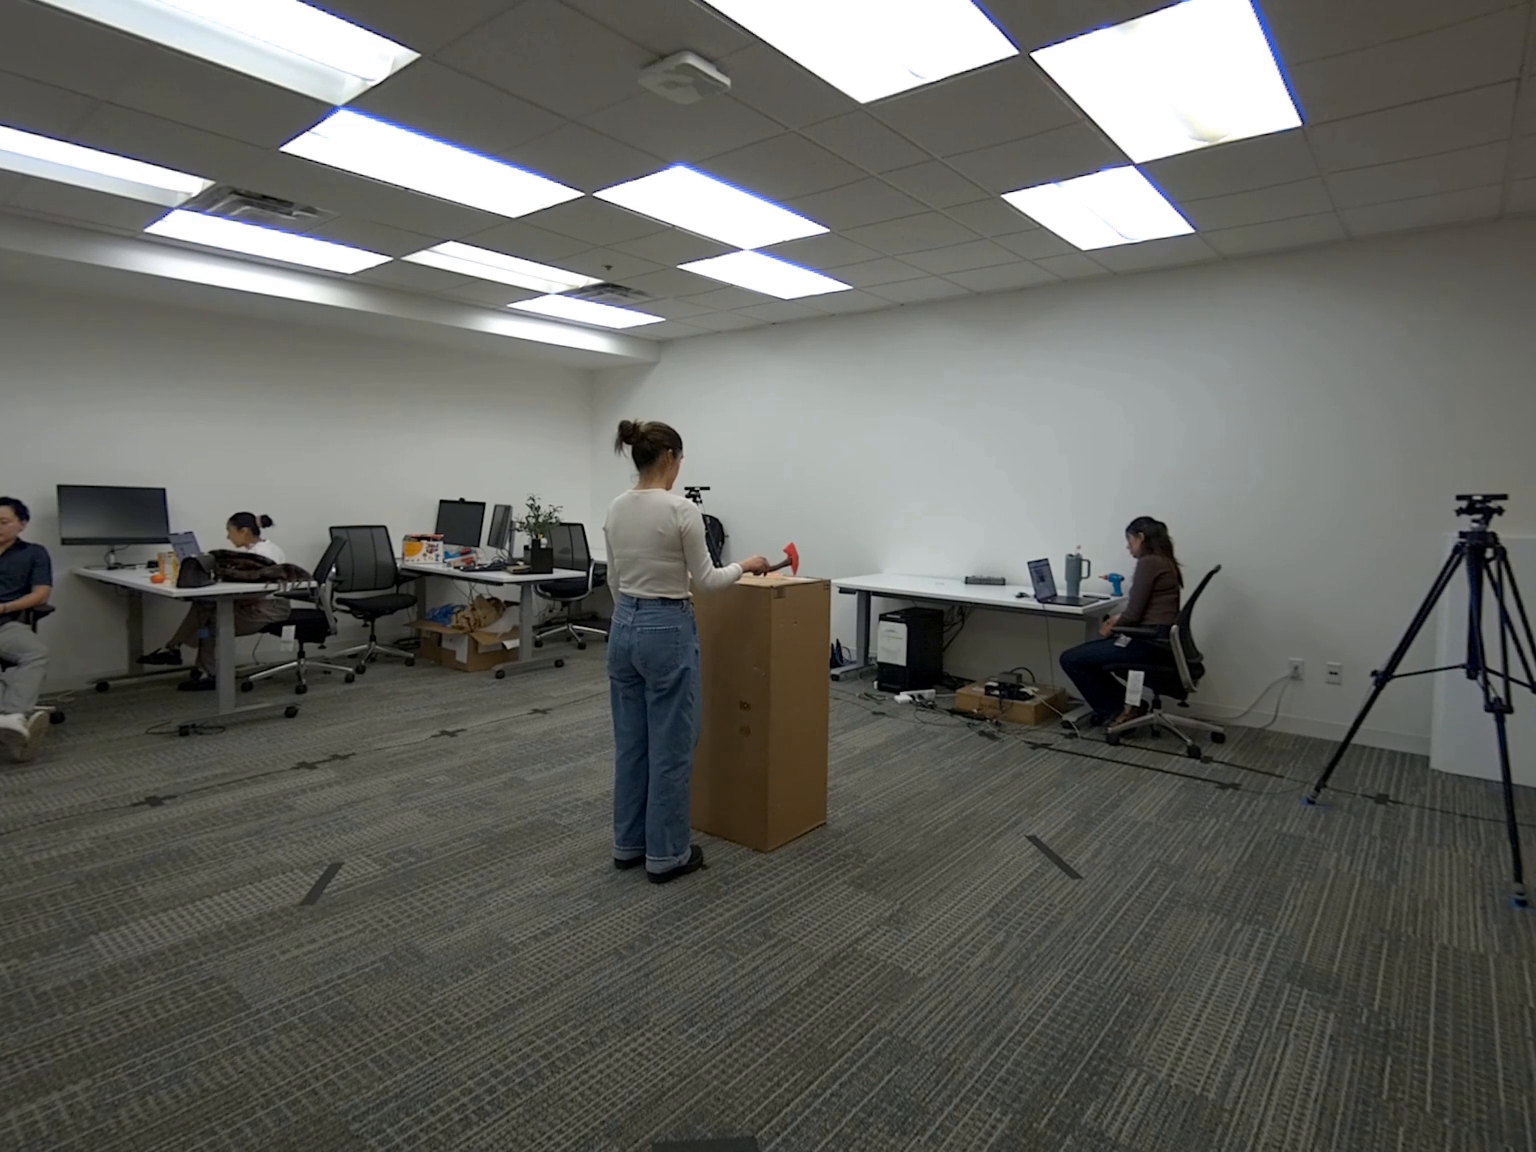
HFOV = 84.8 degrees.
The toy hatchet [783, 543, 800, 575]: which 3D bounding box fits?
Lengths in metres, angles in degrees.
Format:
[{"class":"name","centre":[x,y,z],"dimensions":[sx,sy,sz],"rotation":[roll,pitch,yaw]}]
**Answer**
[{"class":"toy hatchet","centre":[0.027,-0.070,3.305],"dimensions":[0.030,0.131,0.261],"rotation":[7,5,43]}]
